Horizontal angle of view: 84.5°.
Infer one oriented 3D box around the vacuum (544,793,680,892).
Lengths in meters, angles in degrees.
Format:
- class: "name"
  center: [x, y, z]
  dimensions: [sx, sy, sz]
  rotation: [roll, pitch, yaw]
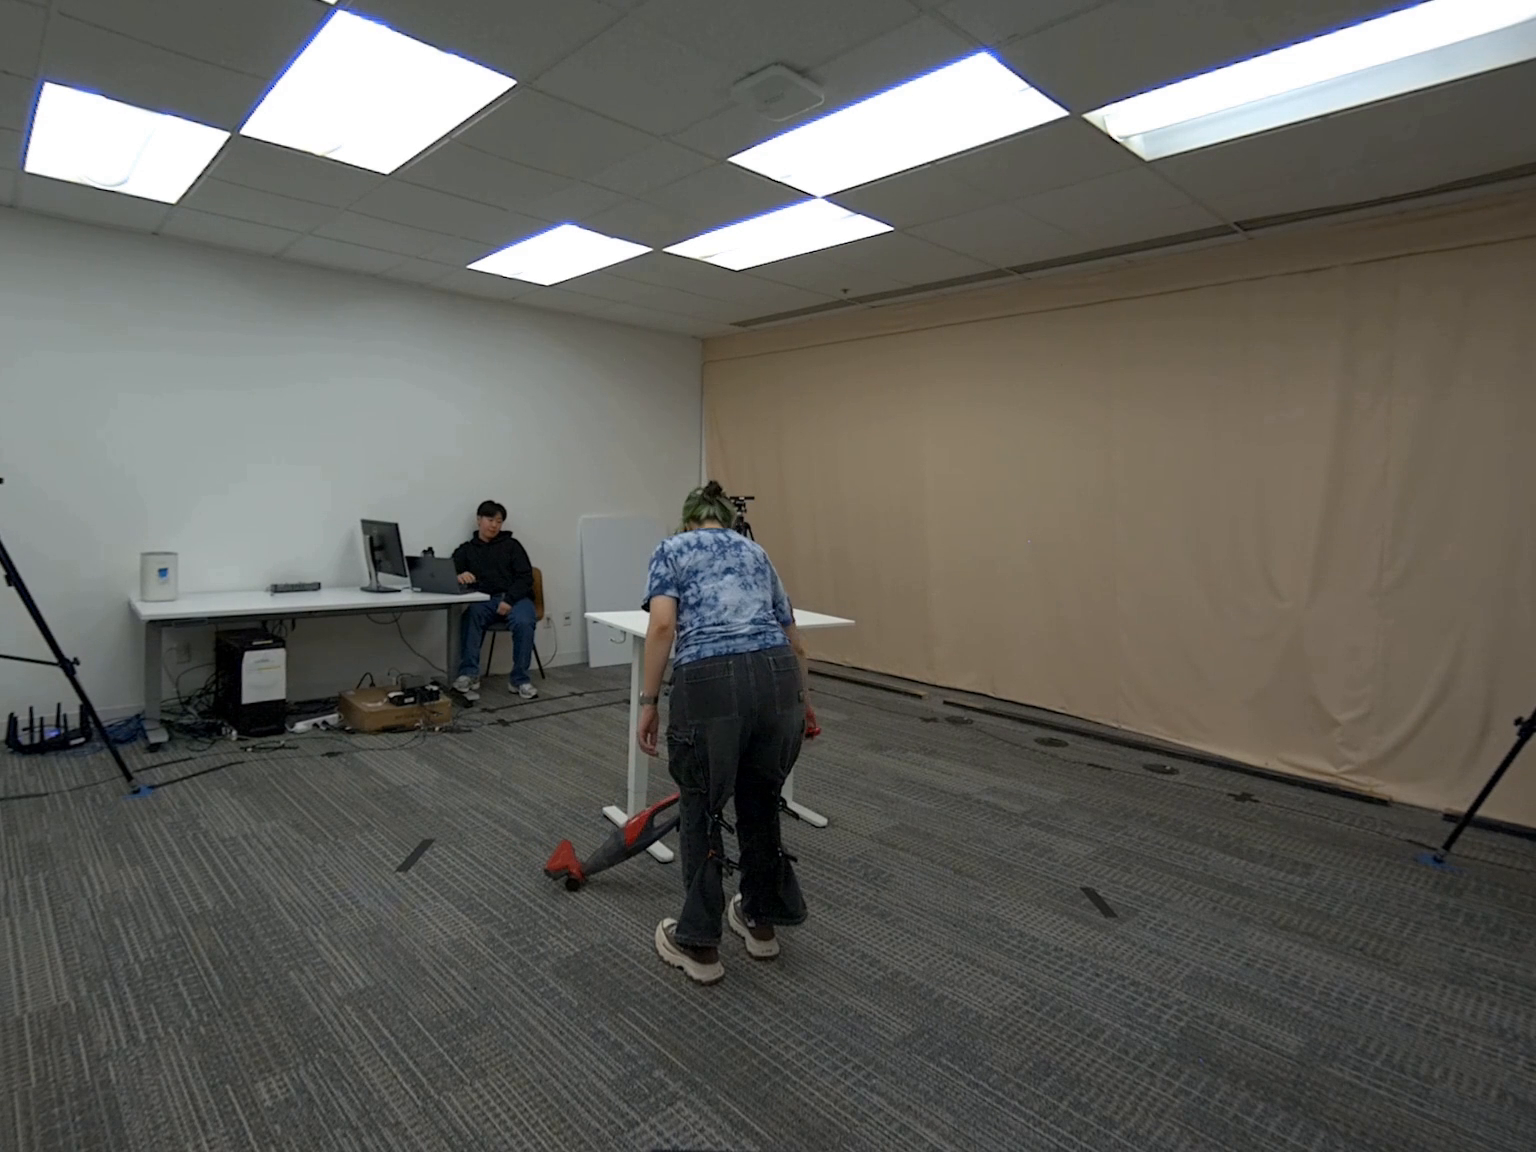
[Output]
- class: "vacuum"
  center: [-0.280, 0.813, 2.943]
  dimensions: [1.052, 0.144, 0.252]
  rotation: [-28, 2, 8]
